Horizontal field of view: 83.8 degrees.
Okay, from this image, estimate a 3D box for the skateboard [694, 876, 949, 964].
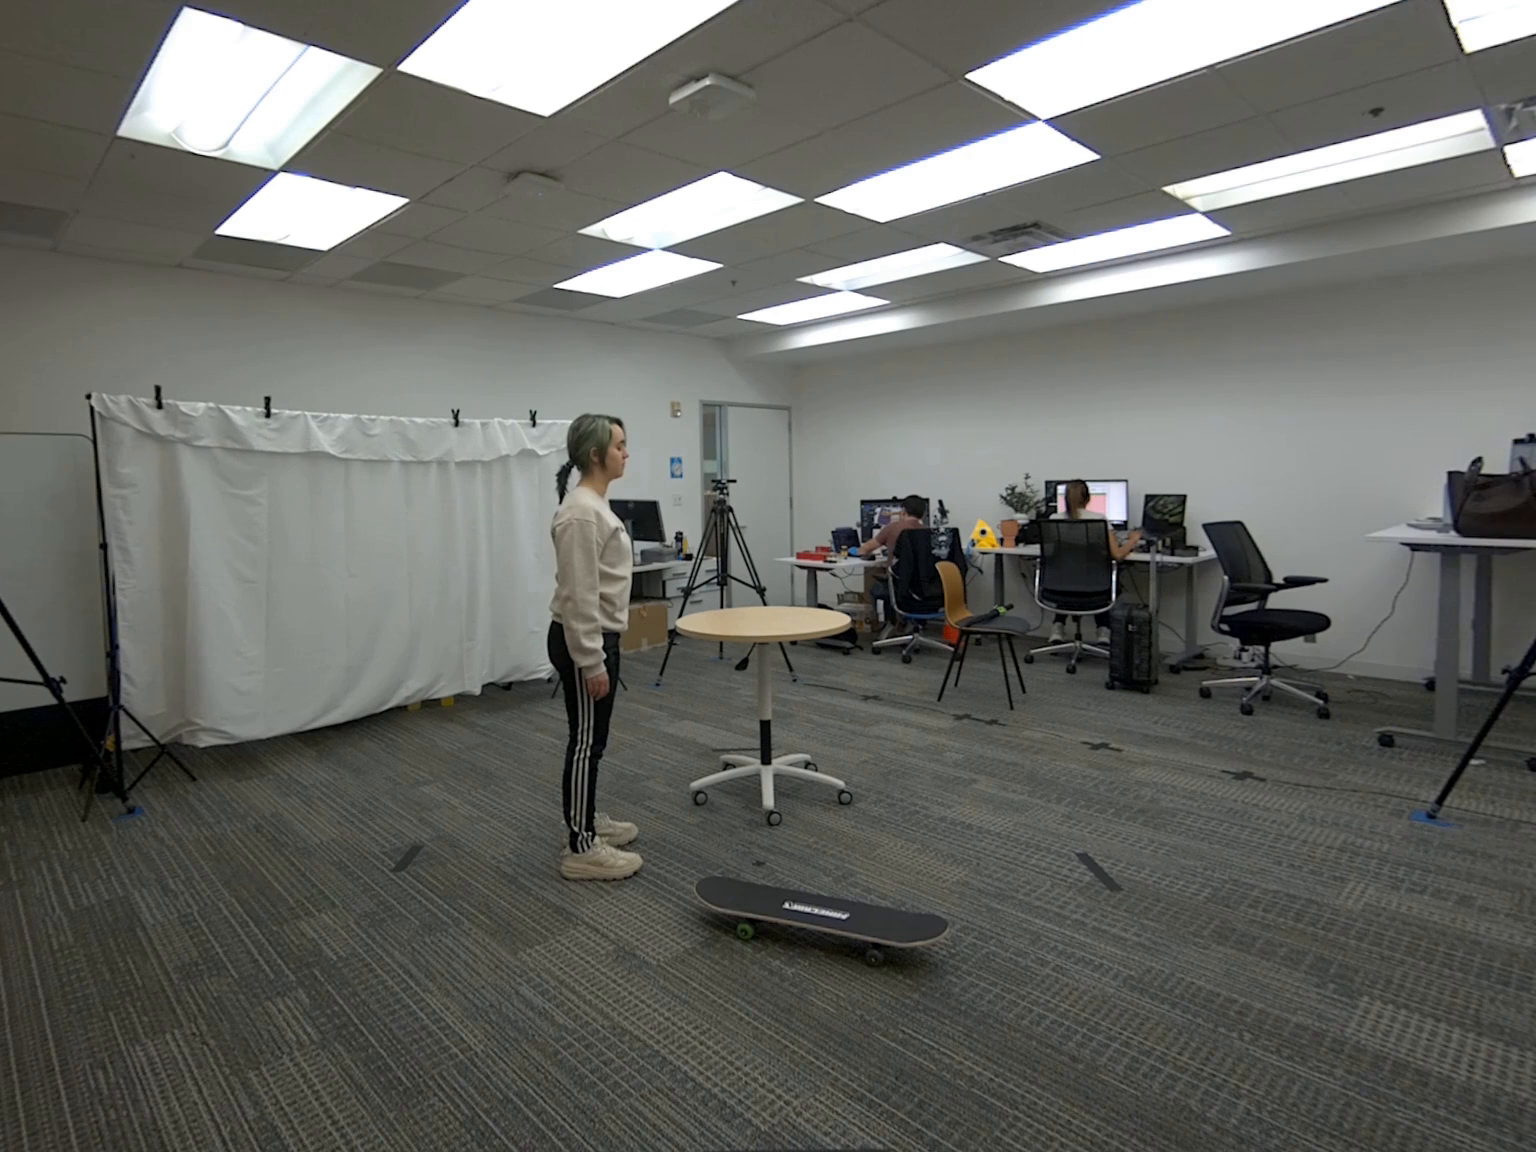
[{"bbox_3d":[0.152,1.045,2.589,0.802,0.110,0.190,1,6,23],"label":"skateboard"}]
